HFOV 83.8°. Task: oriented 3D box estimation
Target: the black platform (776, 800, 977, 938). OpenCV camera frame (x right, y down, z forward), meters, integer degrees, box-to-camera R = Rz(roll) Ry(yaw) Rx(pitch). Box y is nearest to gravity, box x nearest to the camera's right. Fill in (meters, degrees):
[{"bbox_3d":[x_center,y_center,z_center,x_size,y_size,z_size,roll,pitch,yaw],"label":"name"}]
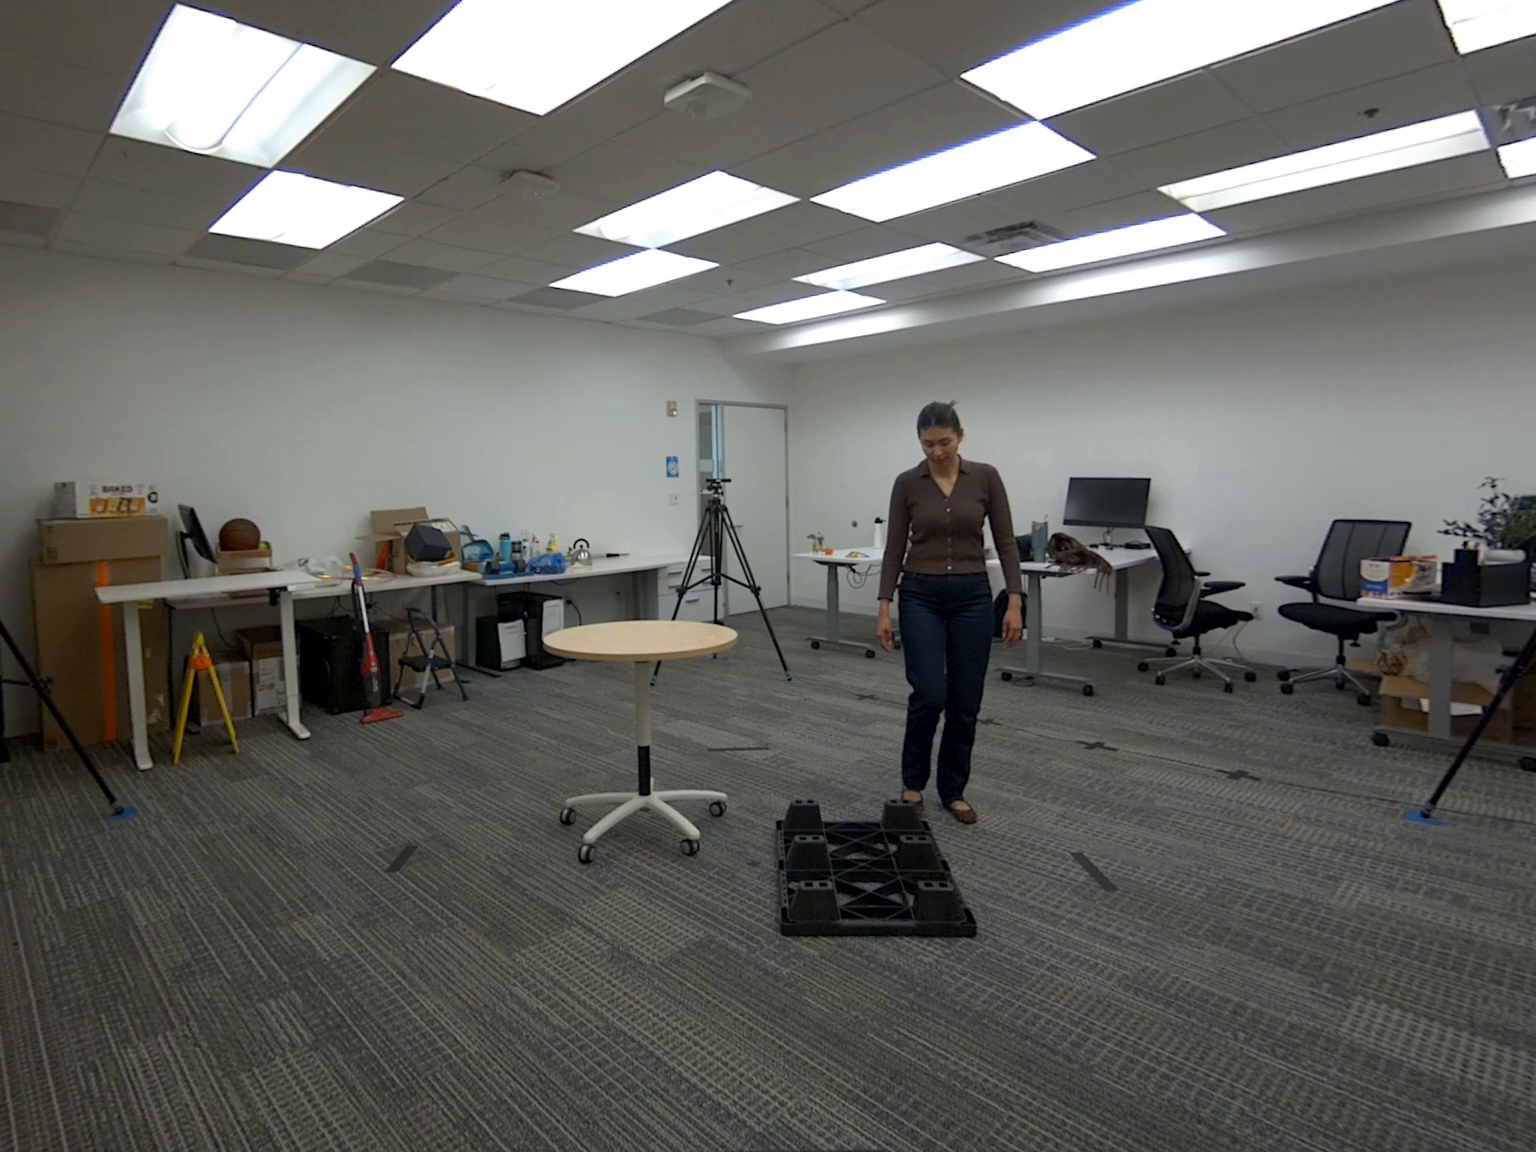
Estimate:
[{"bbox_3d":[0.336,0.985,2.981,0.606,0.142,0.809,-1,6,0],"label":"black platform"}]
